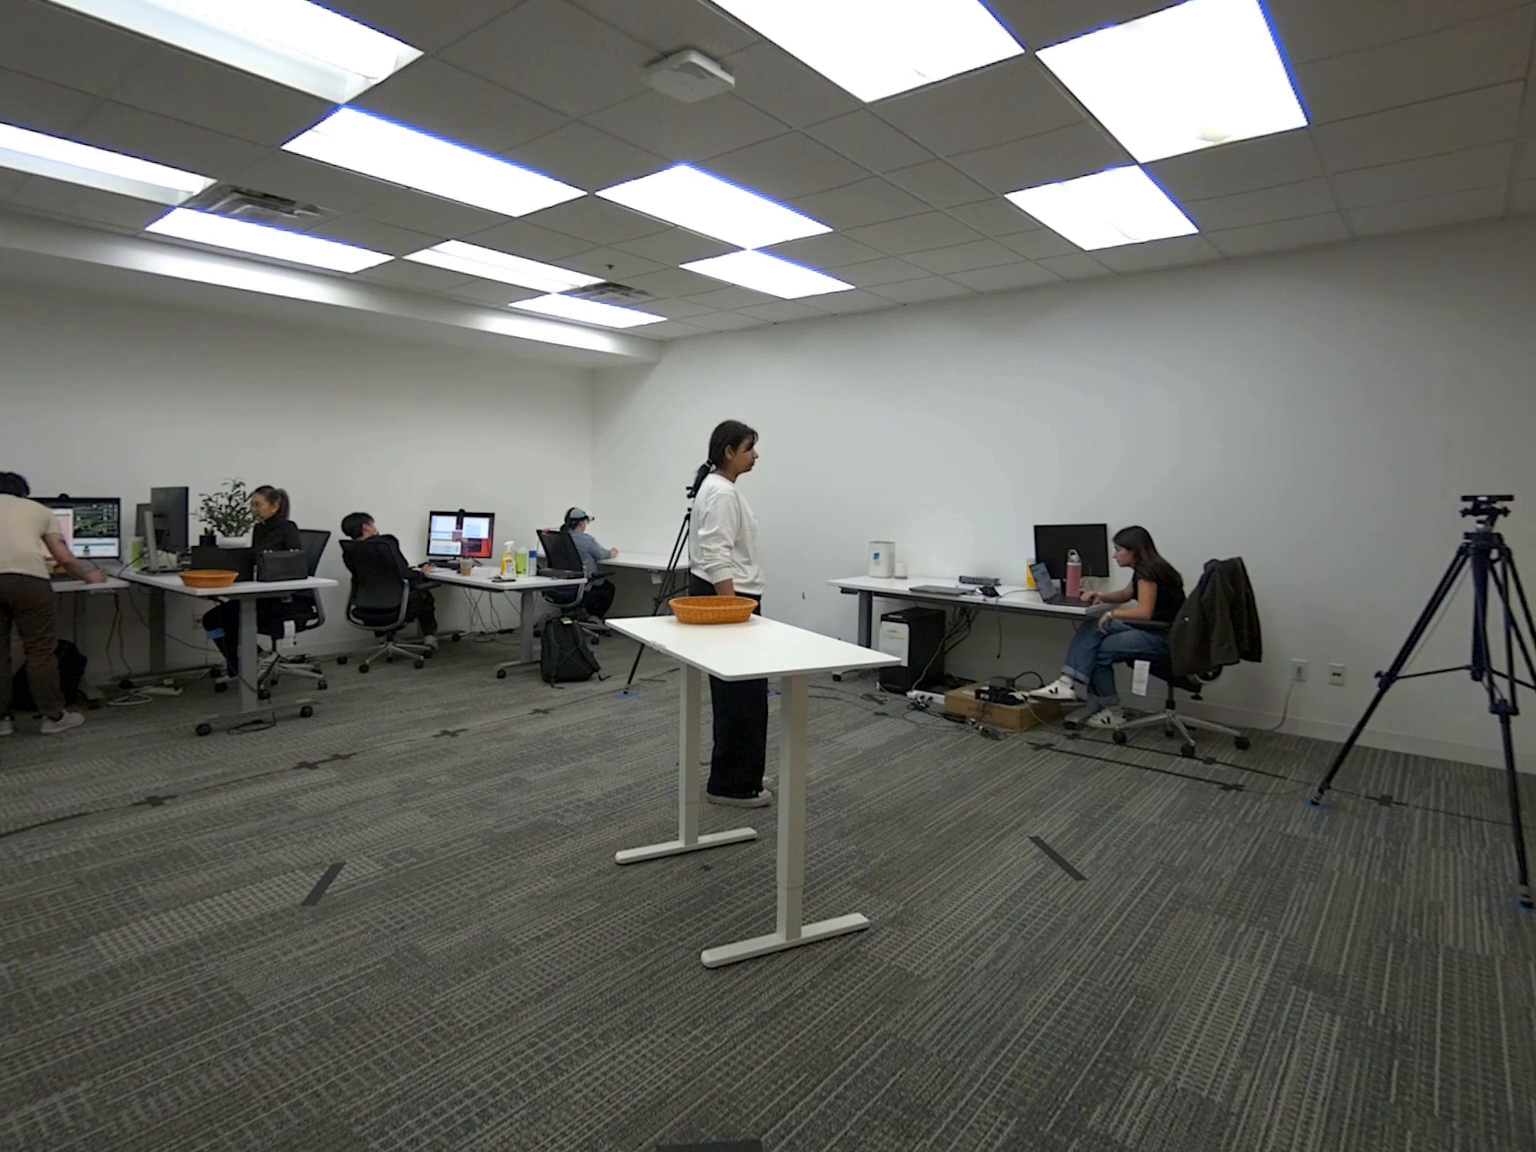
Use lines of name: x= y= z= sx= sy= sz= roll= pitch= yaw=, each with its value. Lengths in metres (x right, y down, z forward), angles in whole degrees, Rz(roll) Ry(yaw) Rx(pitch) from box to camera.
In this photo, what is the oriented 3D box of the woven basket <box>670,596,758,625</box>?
woven basket: x=-0.225 y=0.137 z=3.246 sx=0.343 sy=0.073 sz=0.259 roll=-1 pitch=8 yaw=-21
